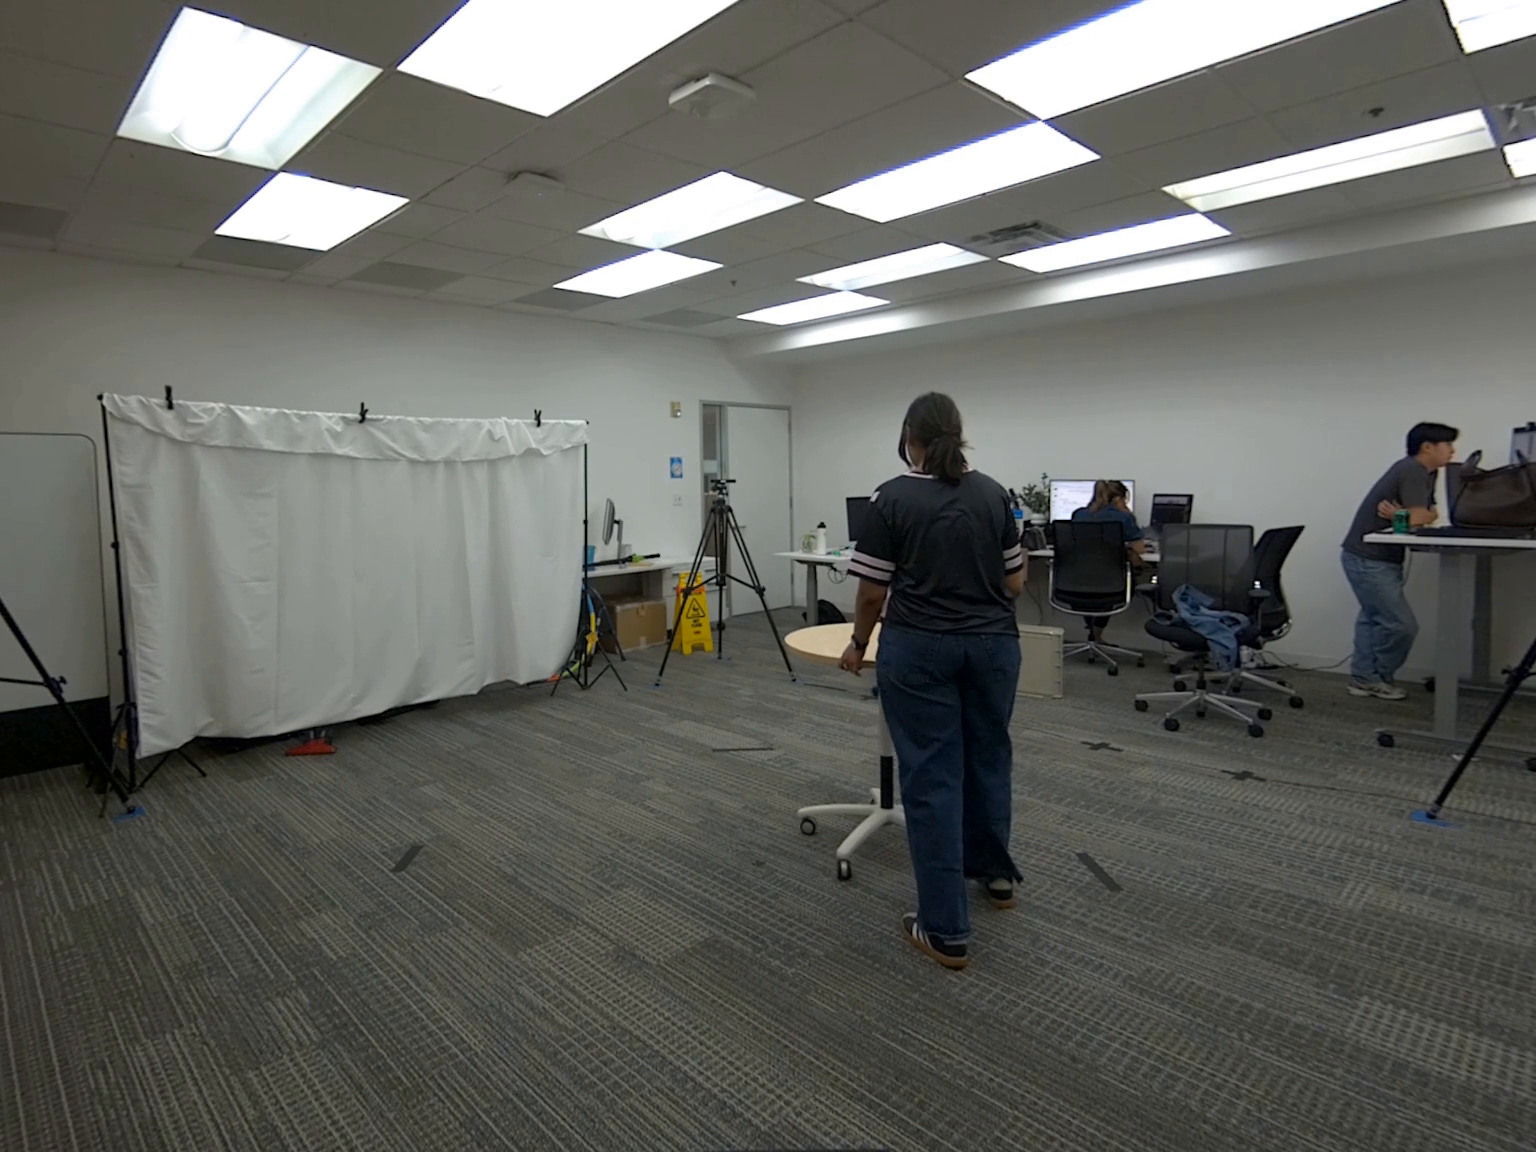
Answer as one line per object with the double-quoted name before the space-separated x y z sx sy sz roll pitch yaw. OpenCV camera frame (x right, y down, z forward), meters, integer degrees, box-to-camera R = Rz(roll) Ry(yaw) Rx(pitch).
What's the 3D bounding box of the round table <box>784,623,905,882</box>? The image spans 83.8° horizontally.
"round table" 0.441 0.628 3.249 0.784 0.783 0.789 -1 5 -2
